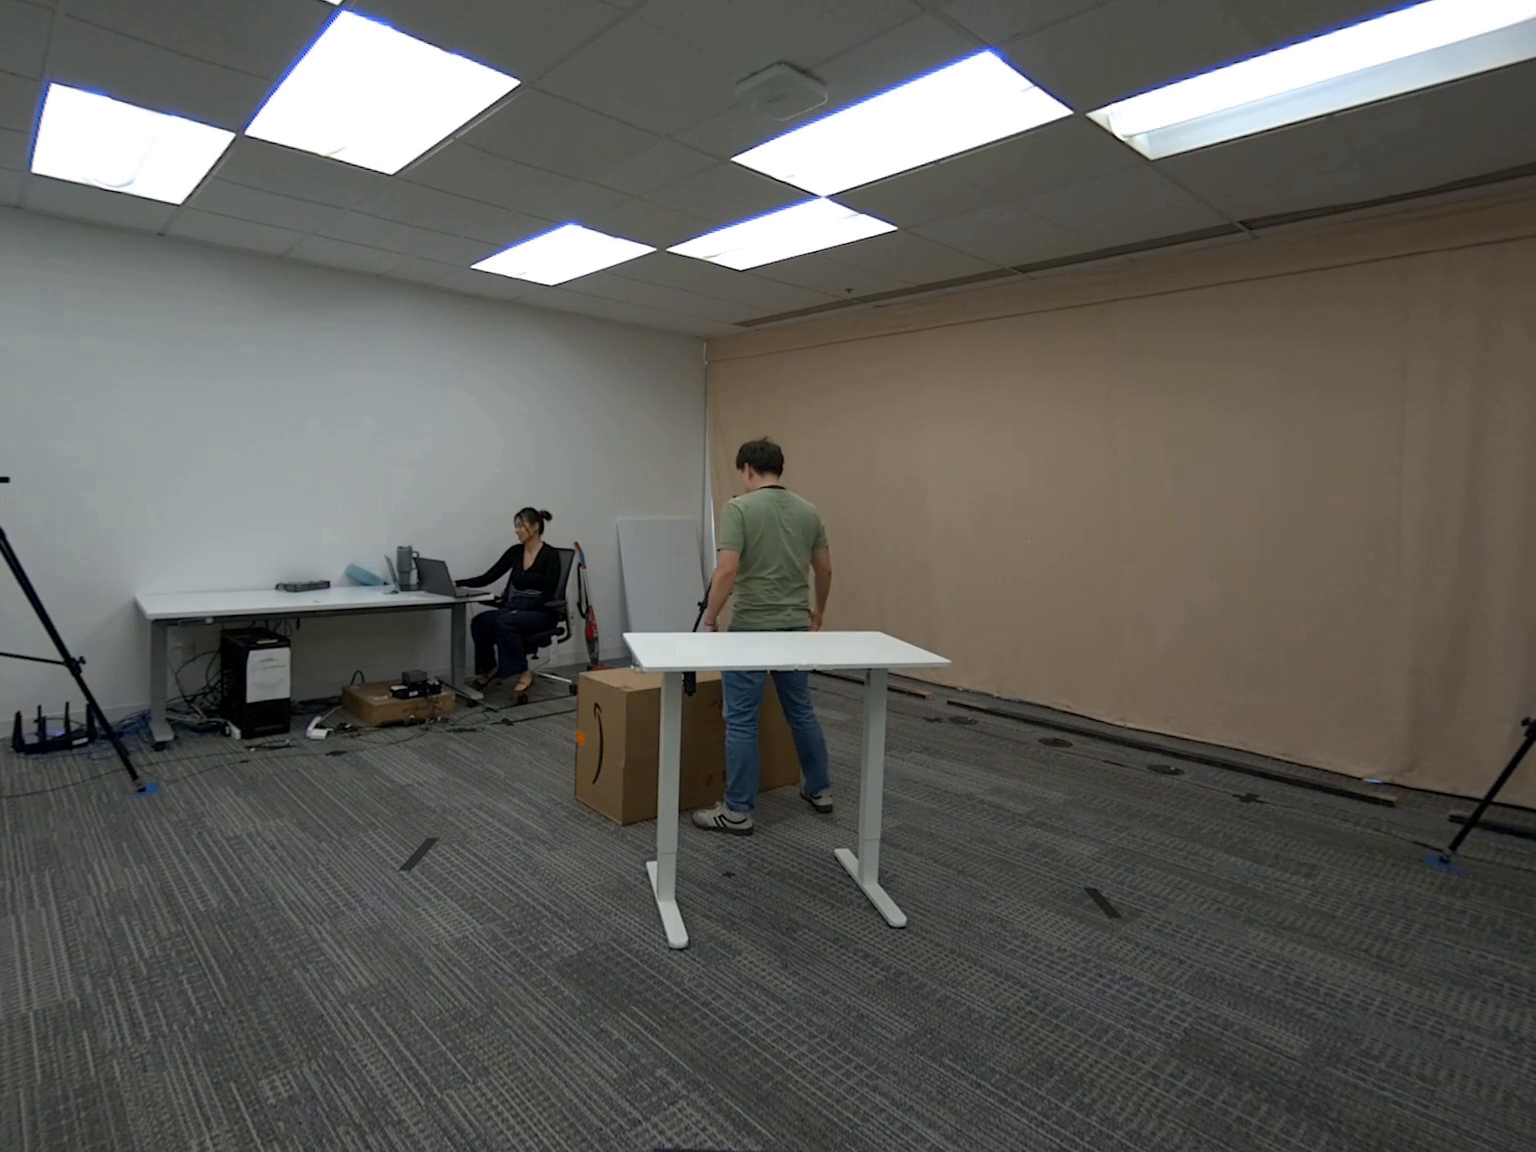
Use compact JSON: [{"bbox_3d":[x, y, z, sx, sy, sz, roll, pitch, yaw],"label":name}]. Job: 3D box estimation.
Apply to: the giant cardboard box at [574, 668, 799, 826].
[{"bbox_3d":[-0.362,0.733,3.996,1.002,0.576,0.437,-1,5,-40],"label":"giant cardboard box"}]
